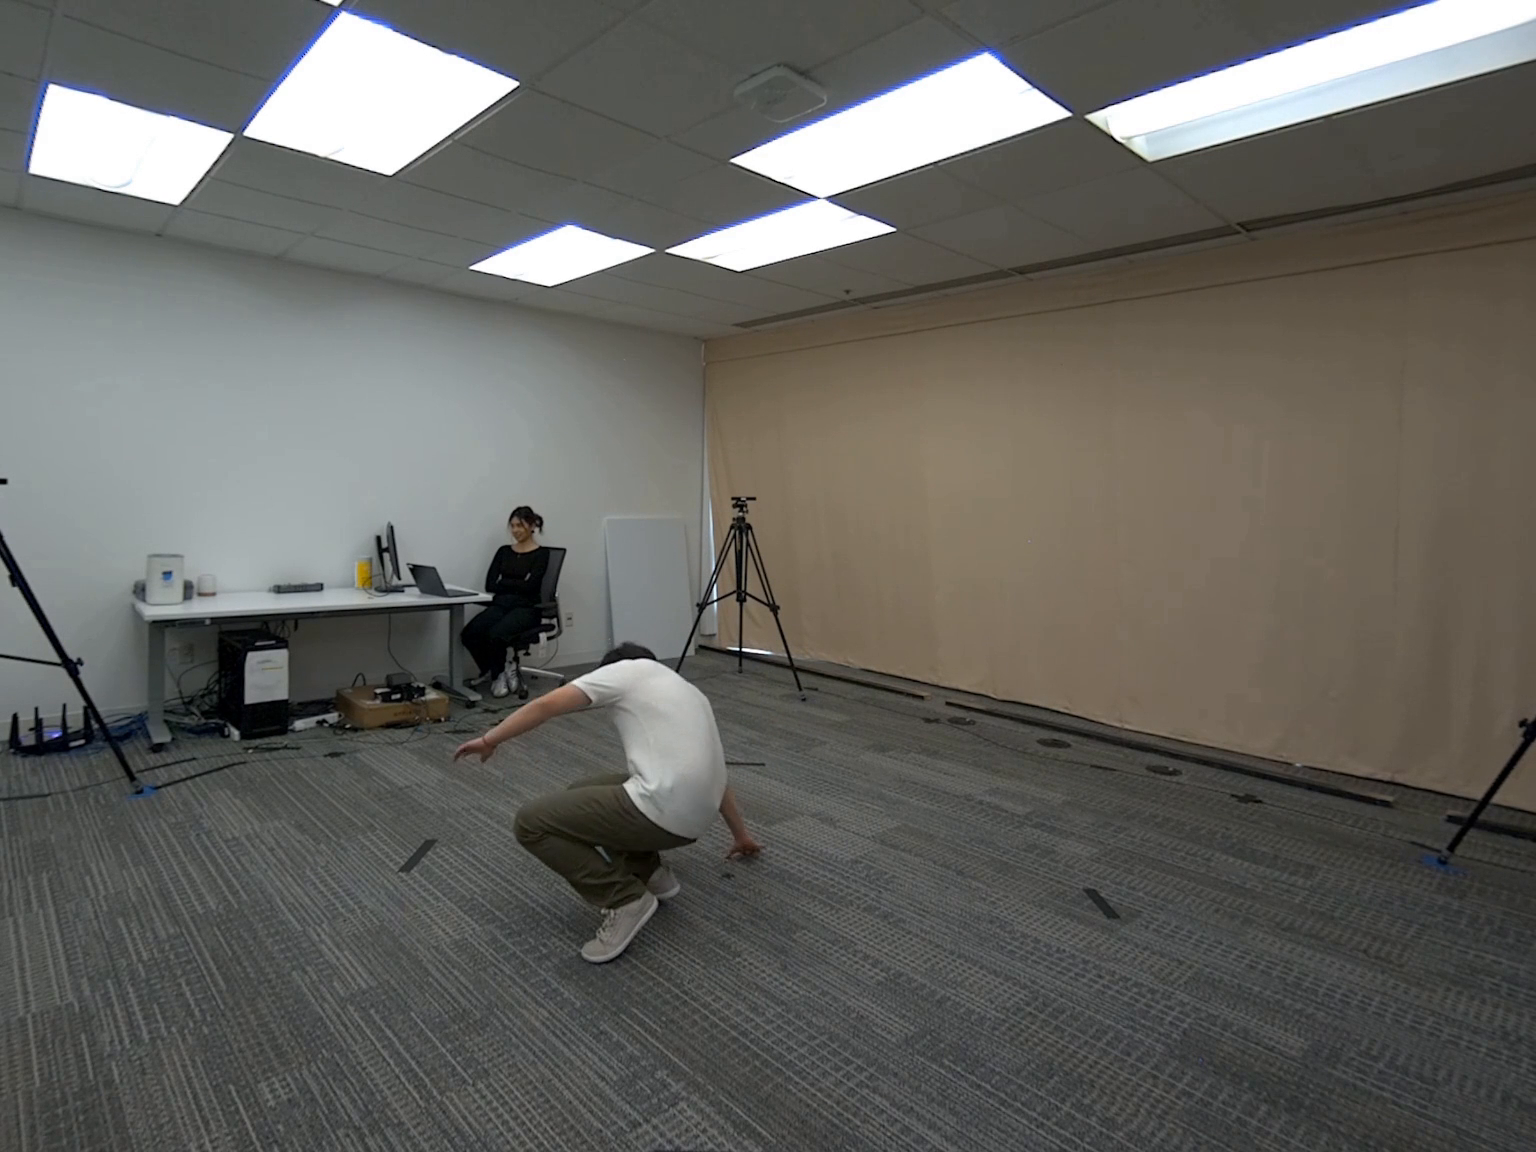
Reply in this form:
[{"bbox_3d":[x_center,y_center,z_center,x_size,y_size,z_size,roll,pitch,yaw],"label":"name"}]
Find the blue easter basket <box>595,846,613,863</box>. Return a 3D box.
[{"bbox_3d":[-0.530,1.019,3.186,0.243,0.155,0.244,1,5,-1],"label":"blue easter basket"}]
